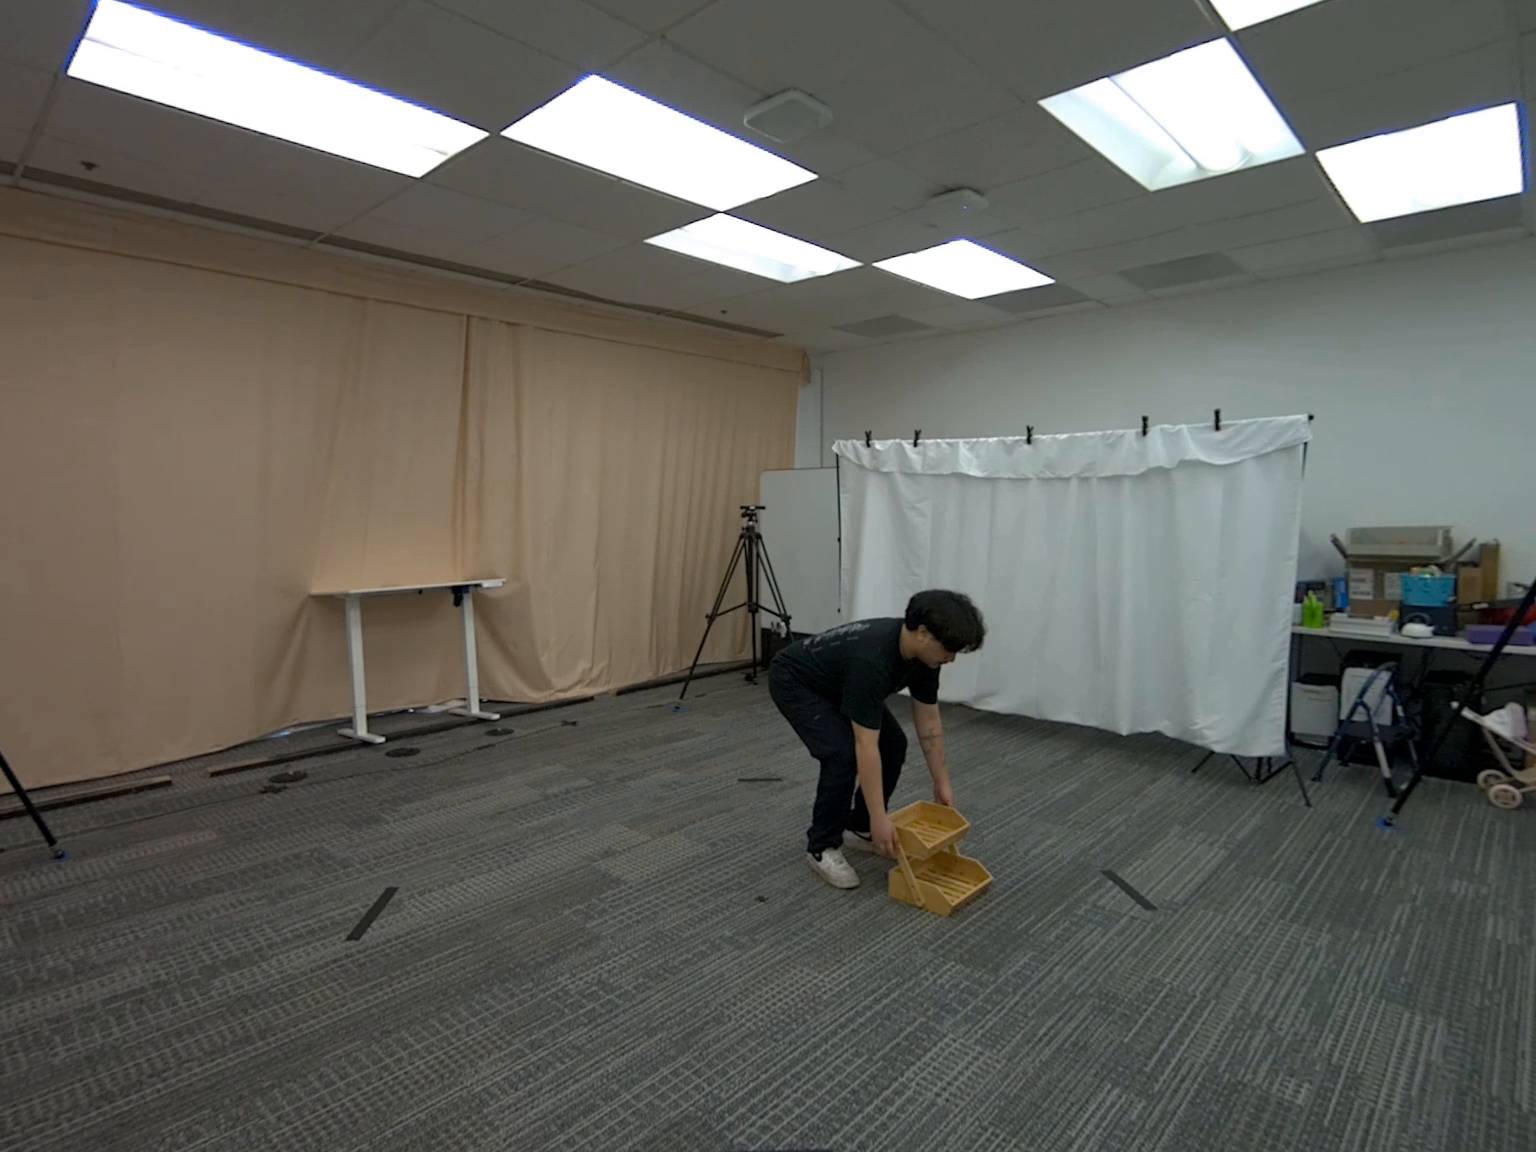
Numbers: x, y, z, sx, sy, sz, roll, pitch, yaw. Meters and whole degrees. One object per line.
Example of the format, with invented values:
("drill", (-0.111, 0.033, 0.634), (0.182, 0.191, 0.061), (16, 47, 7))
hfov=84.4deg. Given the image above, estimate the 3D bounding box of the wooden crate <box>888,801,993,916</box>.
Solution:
("wooden crate", (0.611, 1.003, 3.034), (0.312, 0.273, 0.314), (2, 3, 41))
